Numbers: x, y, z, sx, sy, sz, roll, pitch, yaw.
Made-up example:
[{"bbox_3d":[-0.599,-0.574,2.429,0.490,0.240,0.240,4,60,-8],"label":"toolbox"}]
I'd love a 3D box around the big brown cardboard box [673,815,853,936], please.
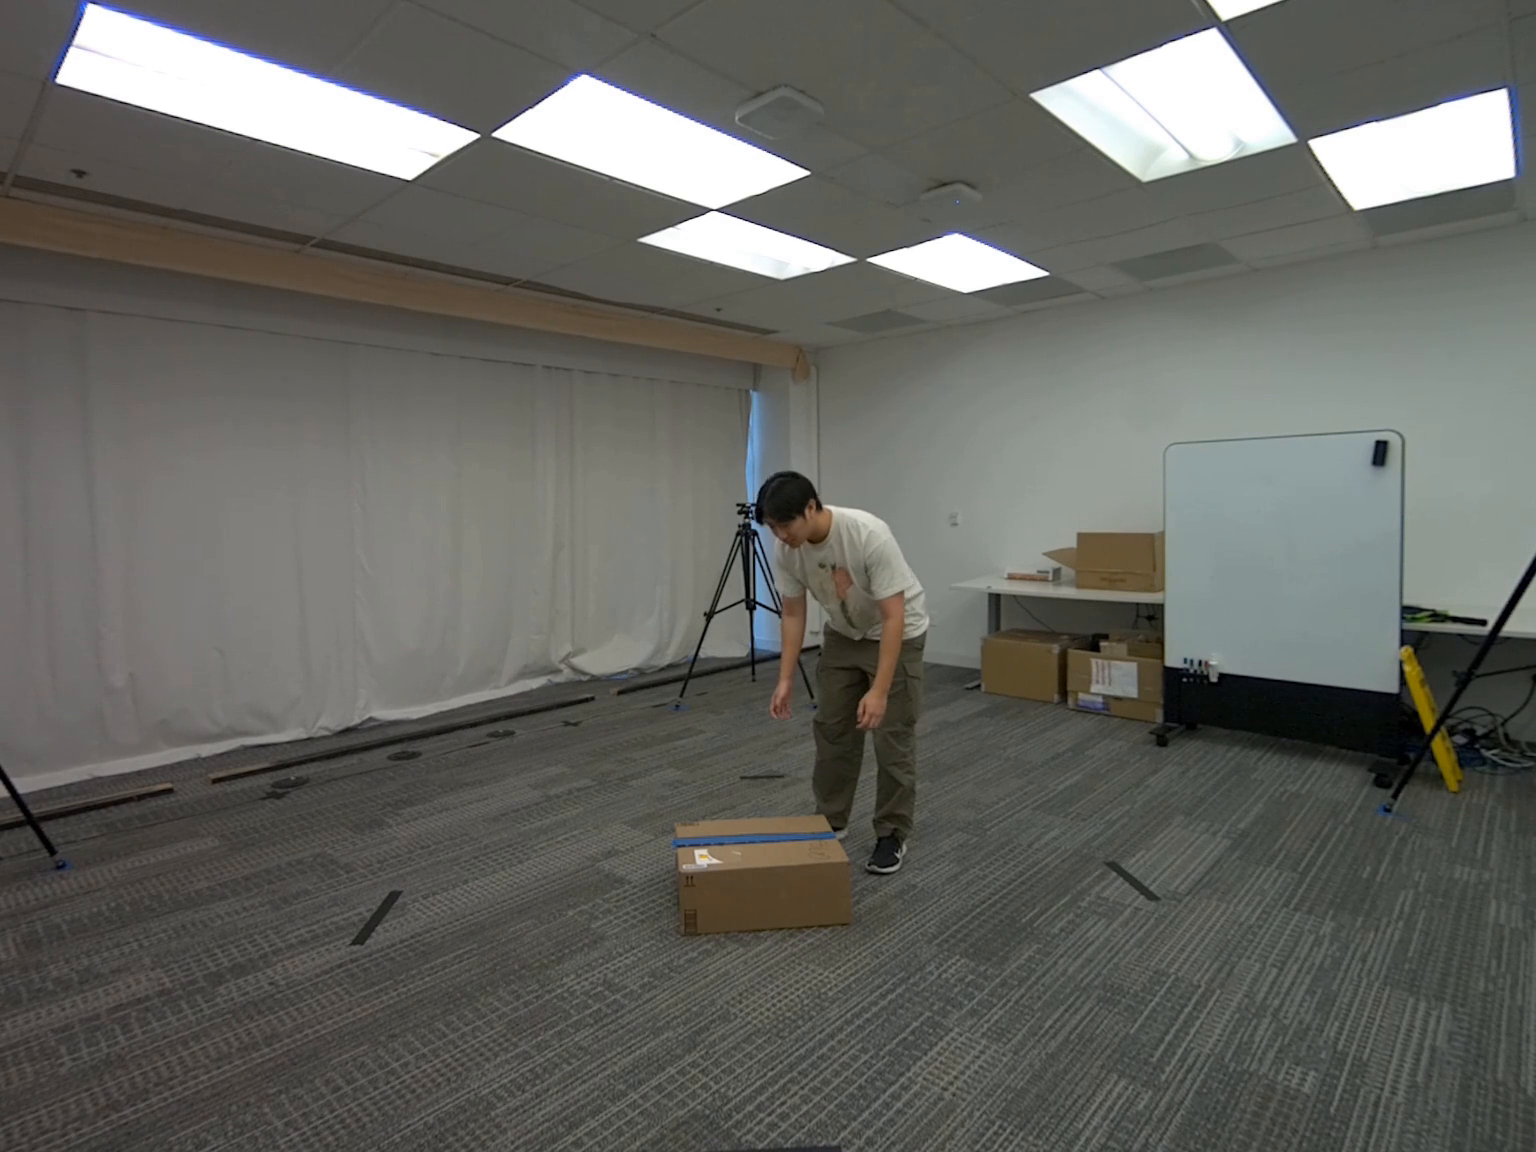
[{"bbox_3d":[-0.039,1.027,2.941,0.585,0.232,0.421,0,5,-7],"label":"big brown cardboard box"}]
